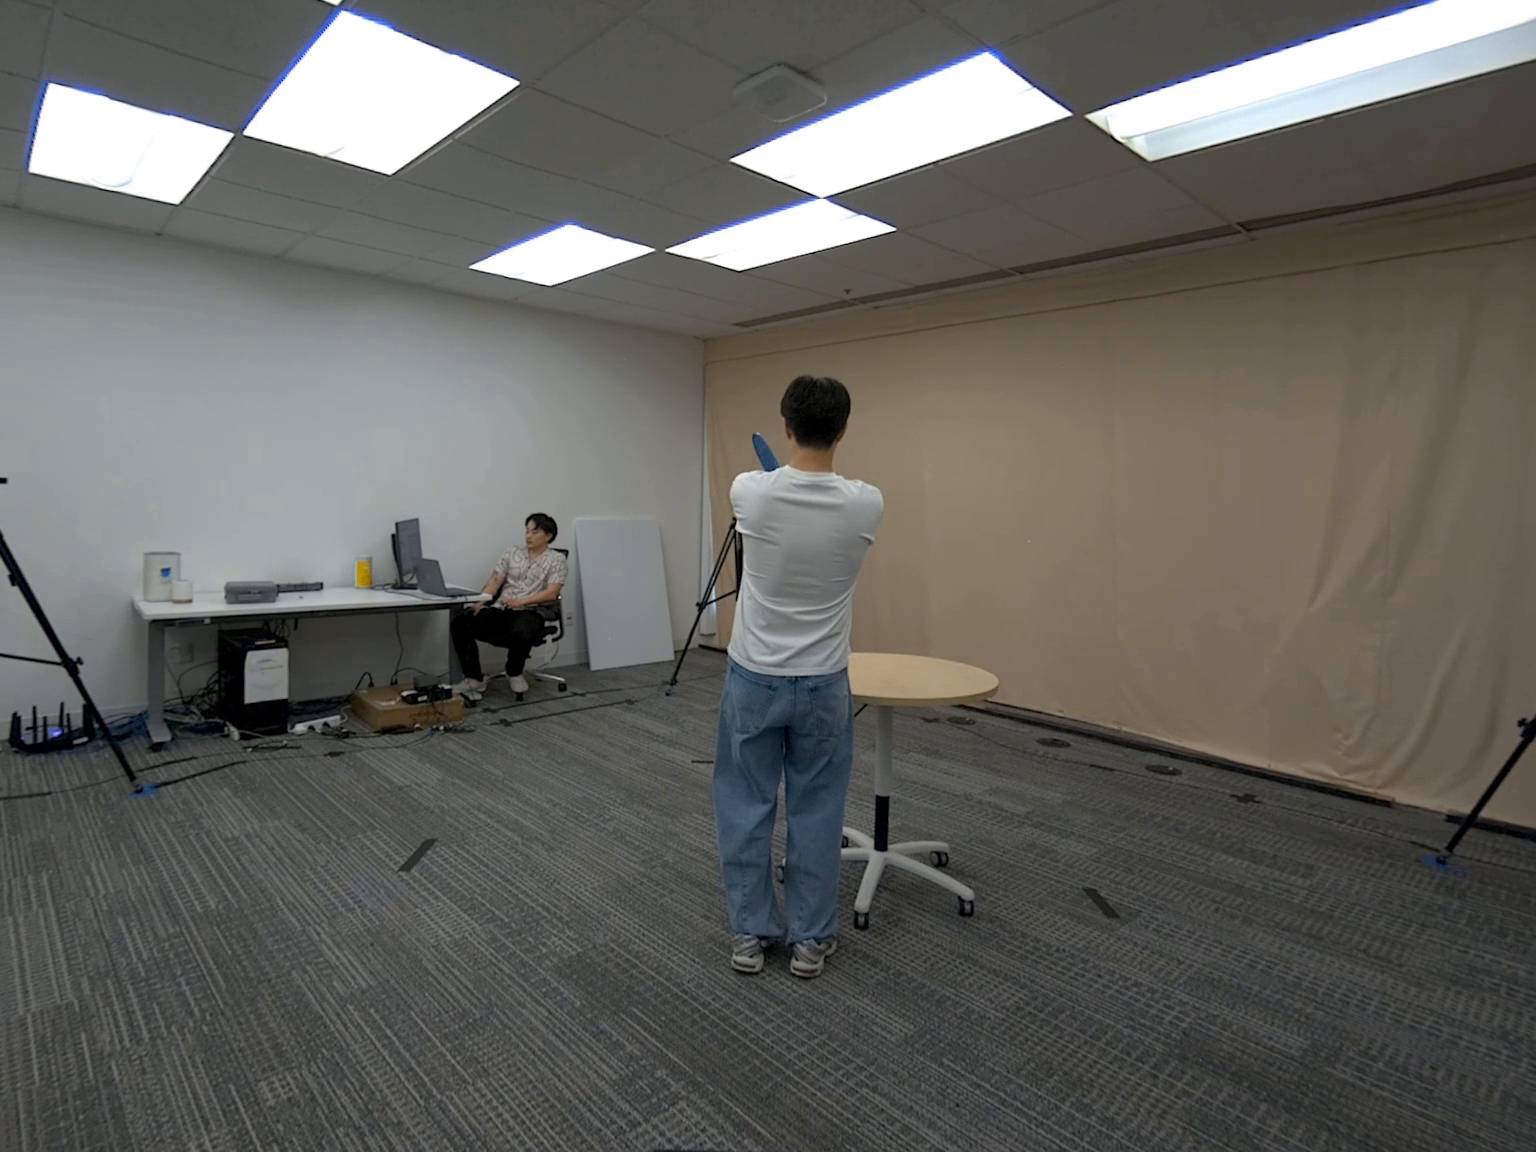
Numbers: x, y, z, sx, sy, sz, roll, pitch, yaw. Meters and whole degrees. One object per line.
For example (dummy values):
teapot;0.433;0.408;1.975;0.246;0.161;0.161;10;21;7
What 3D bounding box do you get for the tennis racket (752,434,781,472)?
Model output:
tennis racket;0.018;-0.410;3.211;0.031;0.208;0.446;-23;36;-9
